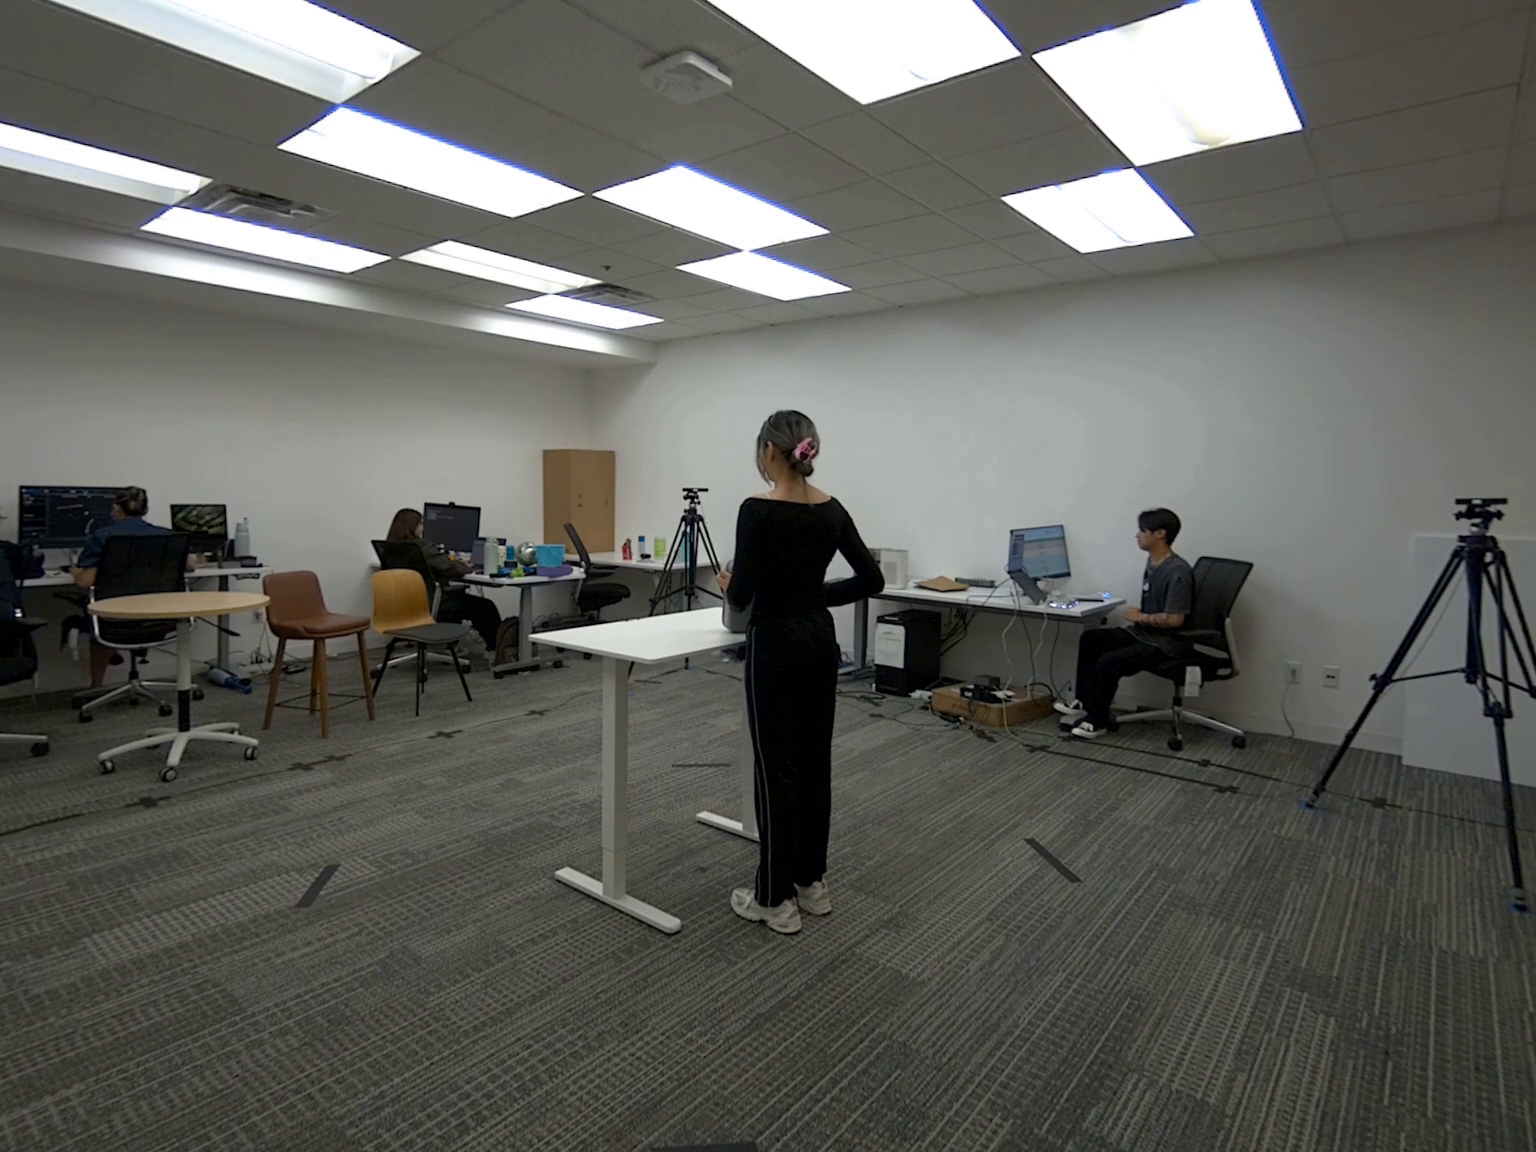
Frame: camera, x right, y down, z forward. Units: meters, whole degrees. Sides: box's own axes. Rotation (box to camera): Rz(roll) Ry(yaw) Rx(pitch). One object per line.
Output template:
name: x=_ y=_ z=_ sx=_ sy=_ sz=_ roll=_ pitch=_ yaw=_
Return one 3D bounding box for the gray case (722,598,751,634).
gray case: x=-0.027 y=0.065 z=3.020 sx=0.254 sy=0.259 sz=0.106 roll=1 pitch=7 yaw=-12
